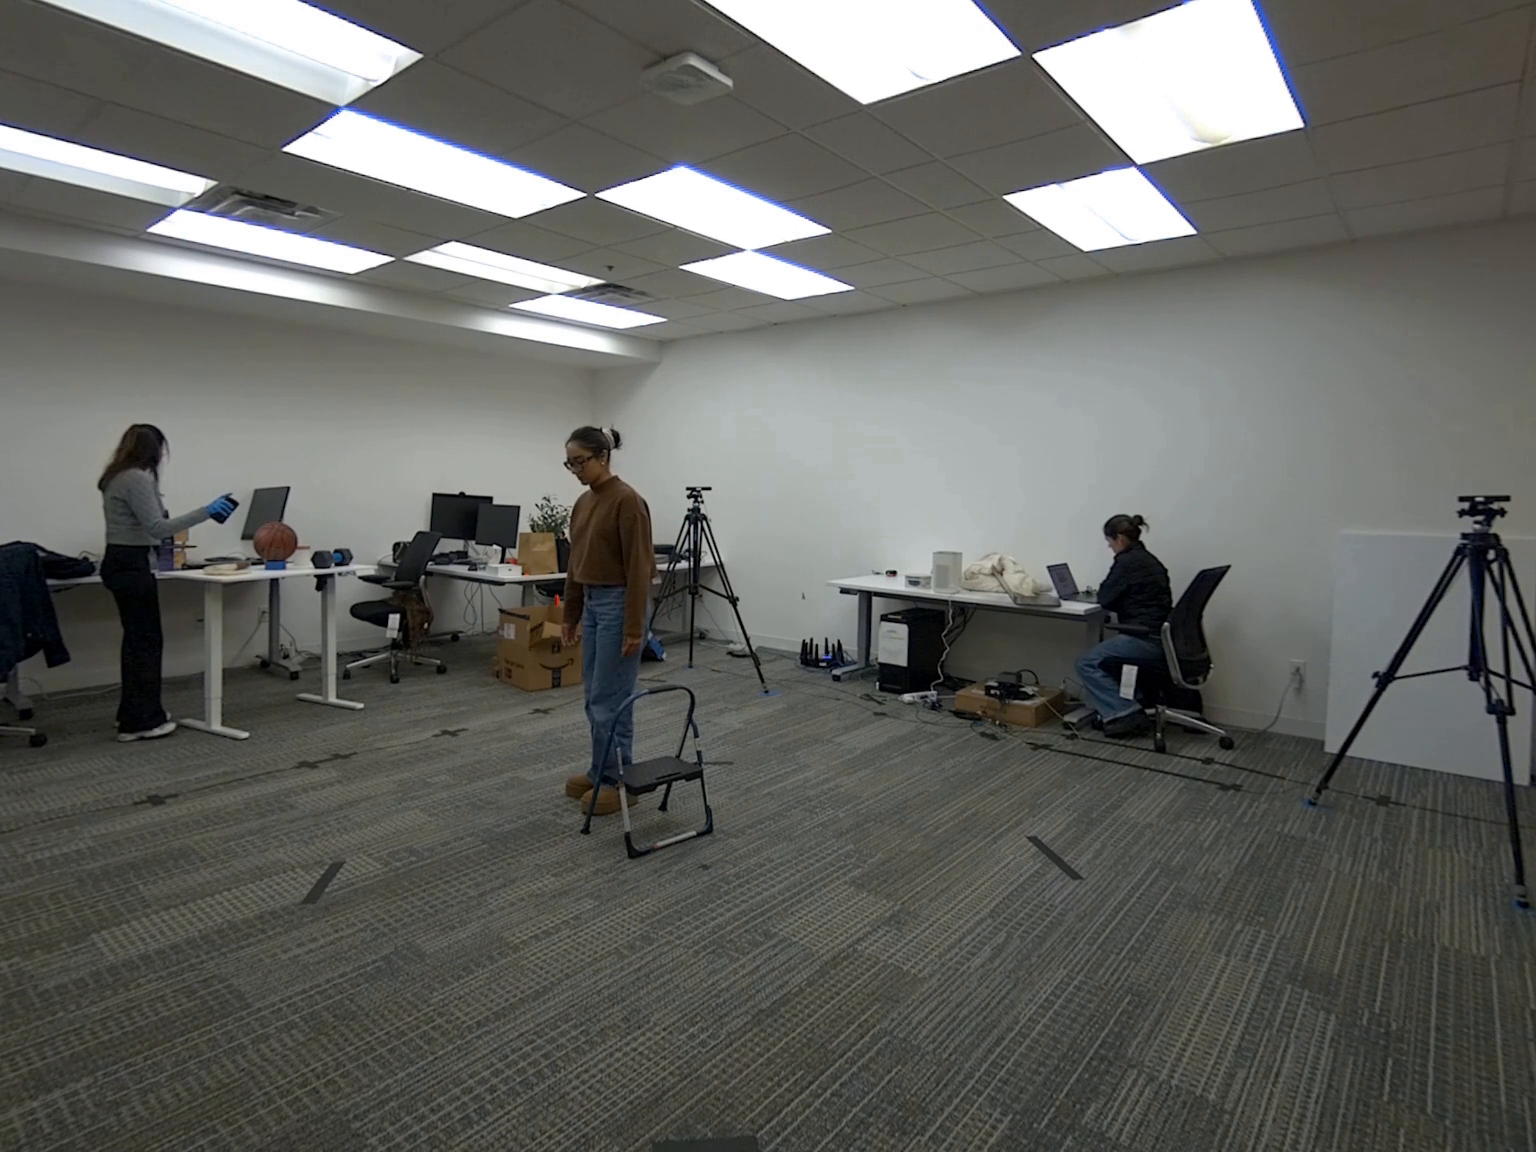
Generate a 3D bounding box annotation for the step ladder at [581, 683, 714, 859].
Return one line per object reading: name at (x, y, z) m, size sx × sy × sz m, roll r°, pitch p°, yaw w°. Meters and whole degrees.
step ladder at (-0.490, 0.727, 3.416) m, size 0.417 × 0.604 × 0.361 m, roll -2°, pitch 5°, yaw -44°
